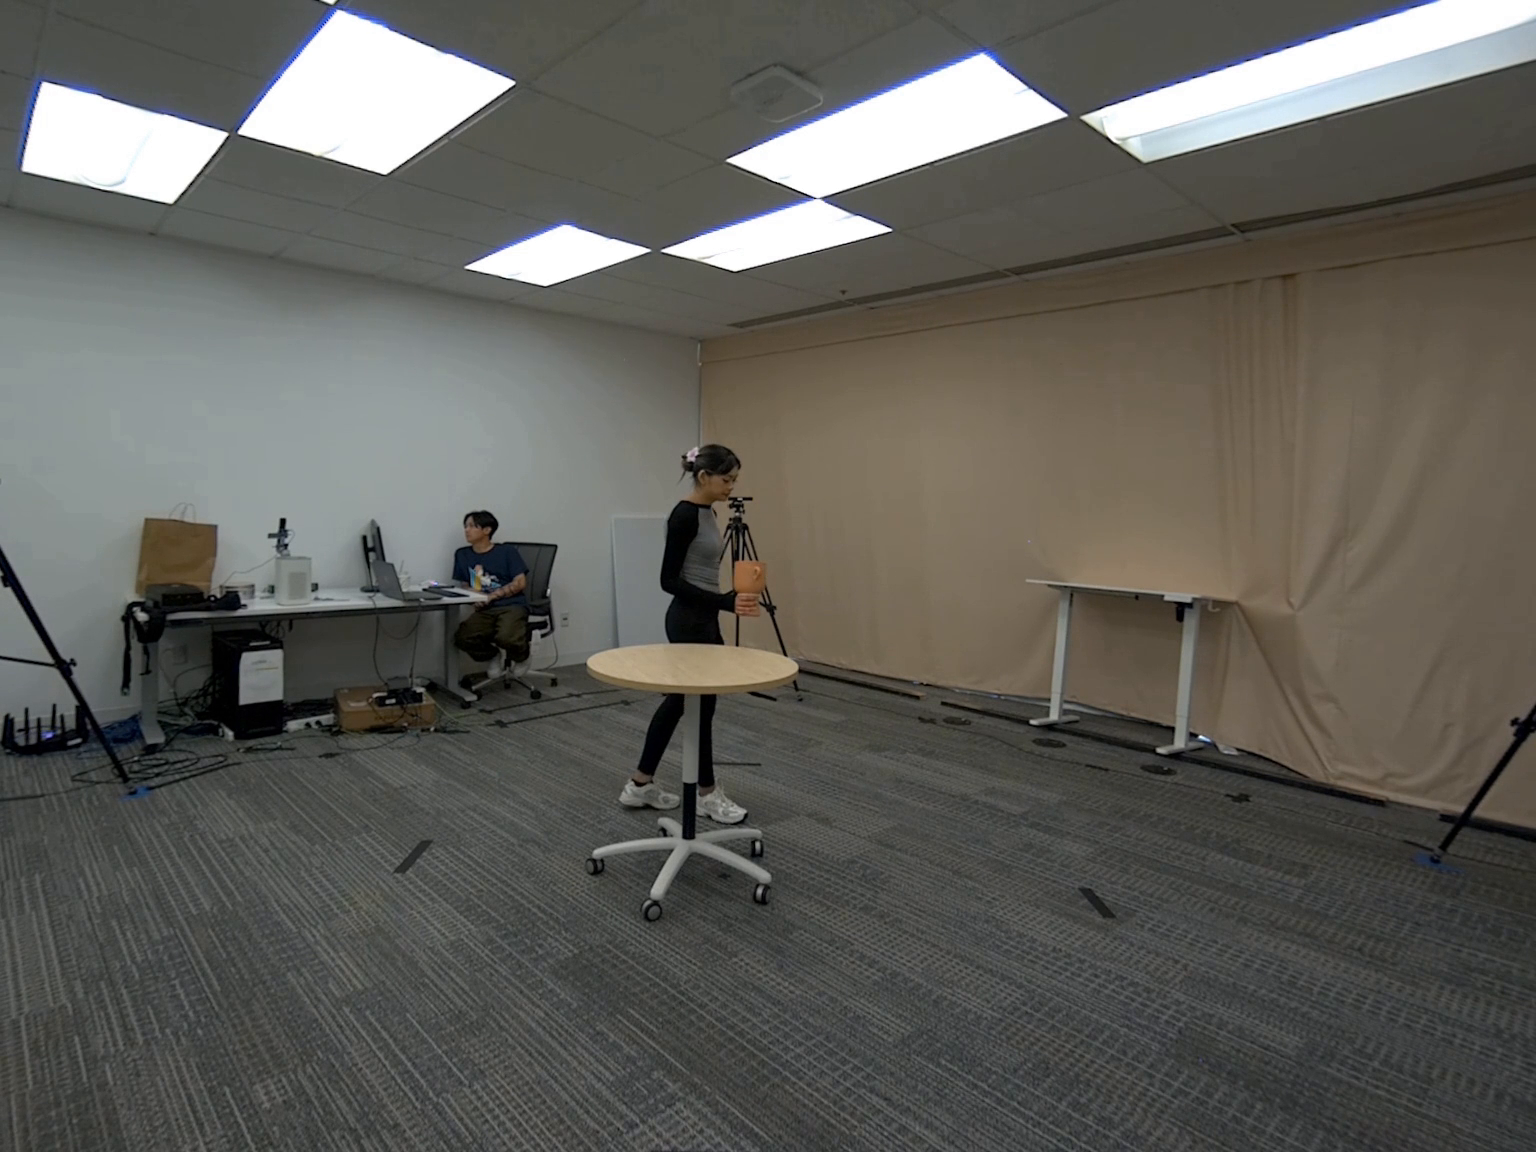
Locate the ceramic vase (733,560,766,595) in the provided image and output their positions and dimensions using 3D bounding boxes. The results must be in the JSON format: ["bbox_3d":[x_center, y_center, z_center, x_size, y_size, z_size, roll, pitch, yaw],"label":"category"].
[{"bbox_3d":[-0.088,0.053,3.478,0.136,0.221,0.156,2,-6,14],"label":"ceramic vase"}]
